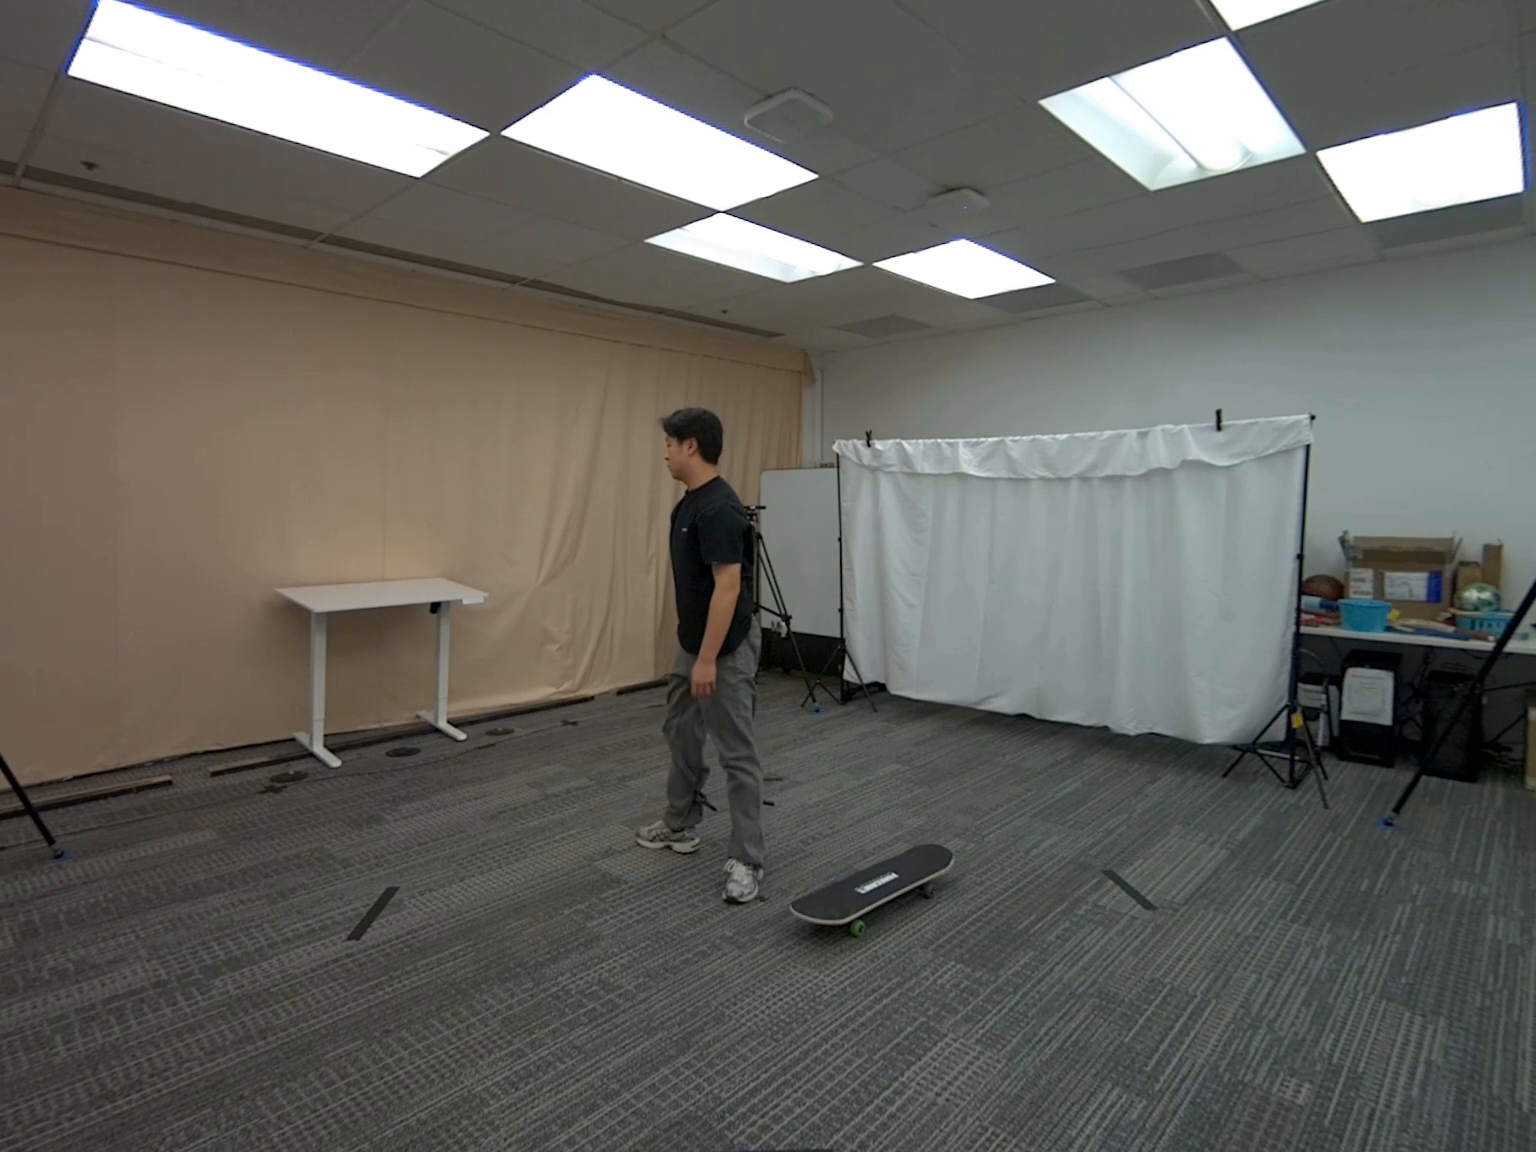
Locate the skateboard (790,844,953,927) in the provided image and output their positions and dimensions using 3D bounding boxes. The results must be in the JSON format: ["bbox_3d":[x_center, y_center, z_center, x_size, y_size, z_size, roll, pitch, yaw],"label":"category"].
[{"bbox_3d":[0.380,1.093,2.906,0.761,0.110,0.200,-5,6,-42],"label":"skateboard"}]
